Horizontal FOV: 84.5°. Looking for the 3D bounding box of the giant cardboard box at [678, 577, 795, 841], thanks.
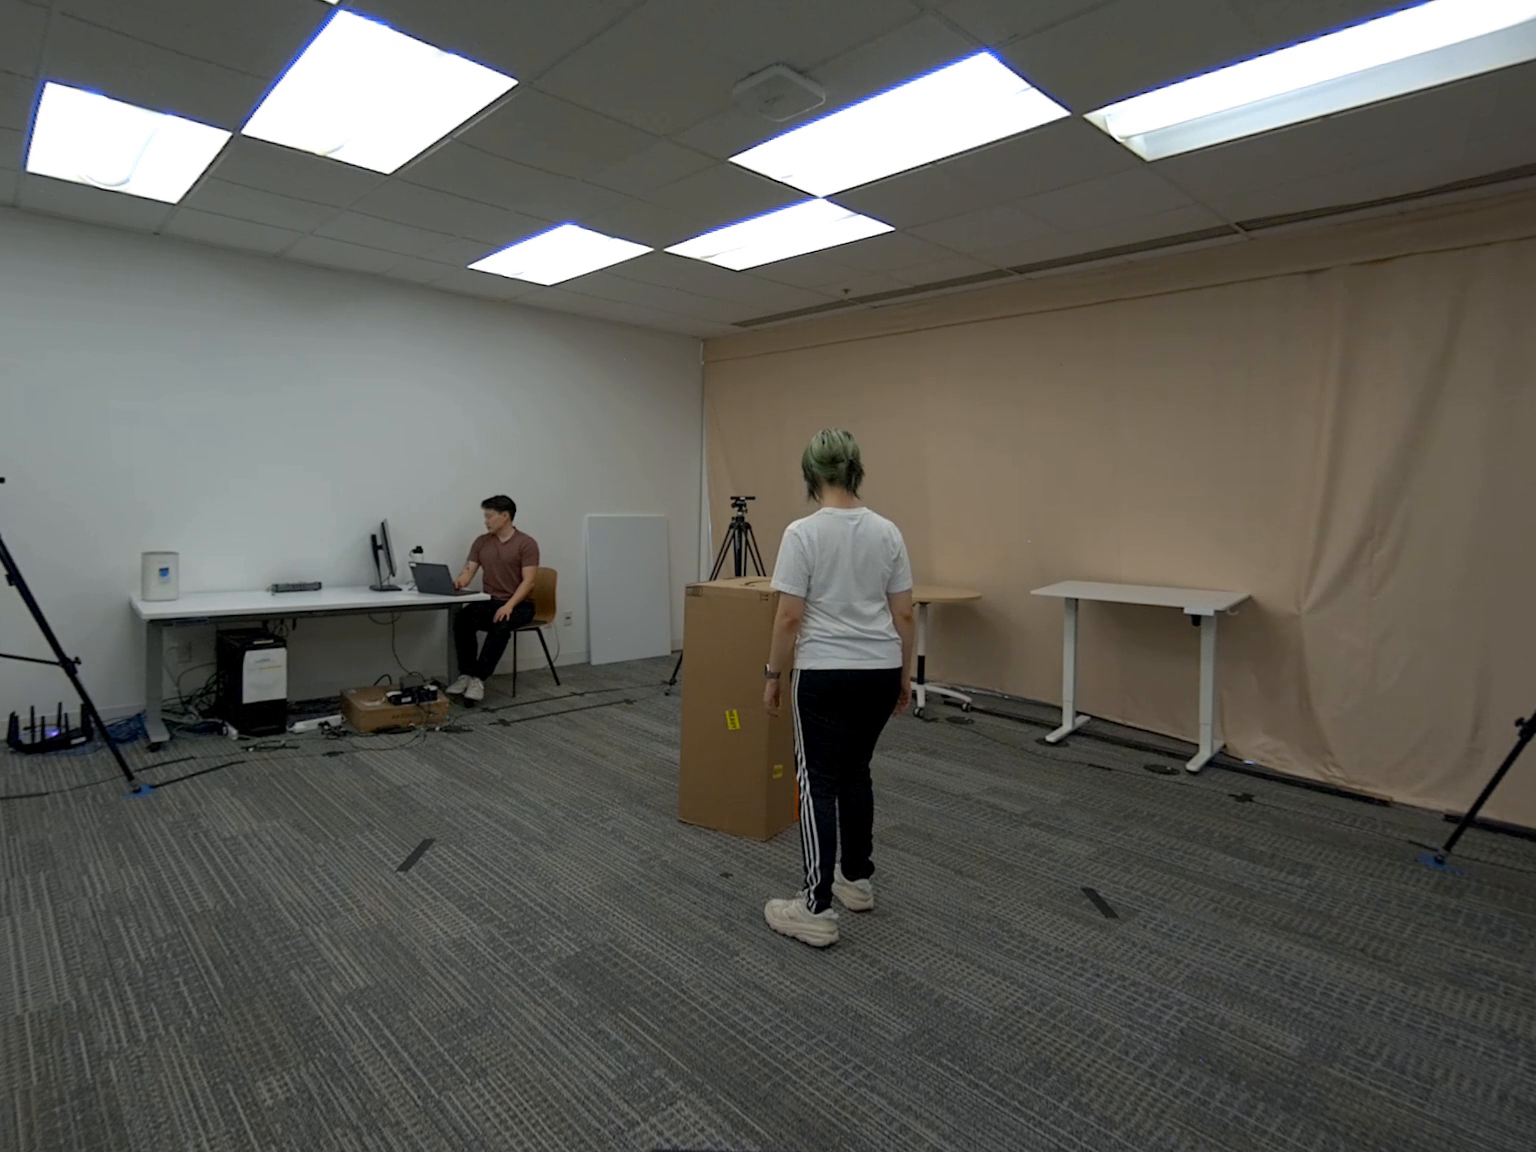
[{"bbox_3d":[-0.063,0.543,3.741,0.435,1.024,0.566,4,3,28],"label":"giant cardboard box"}]
